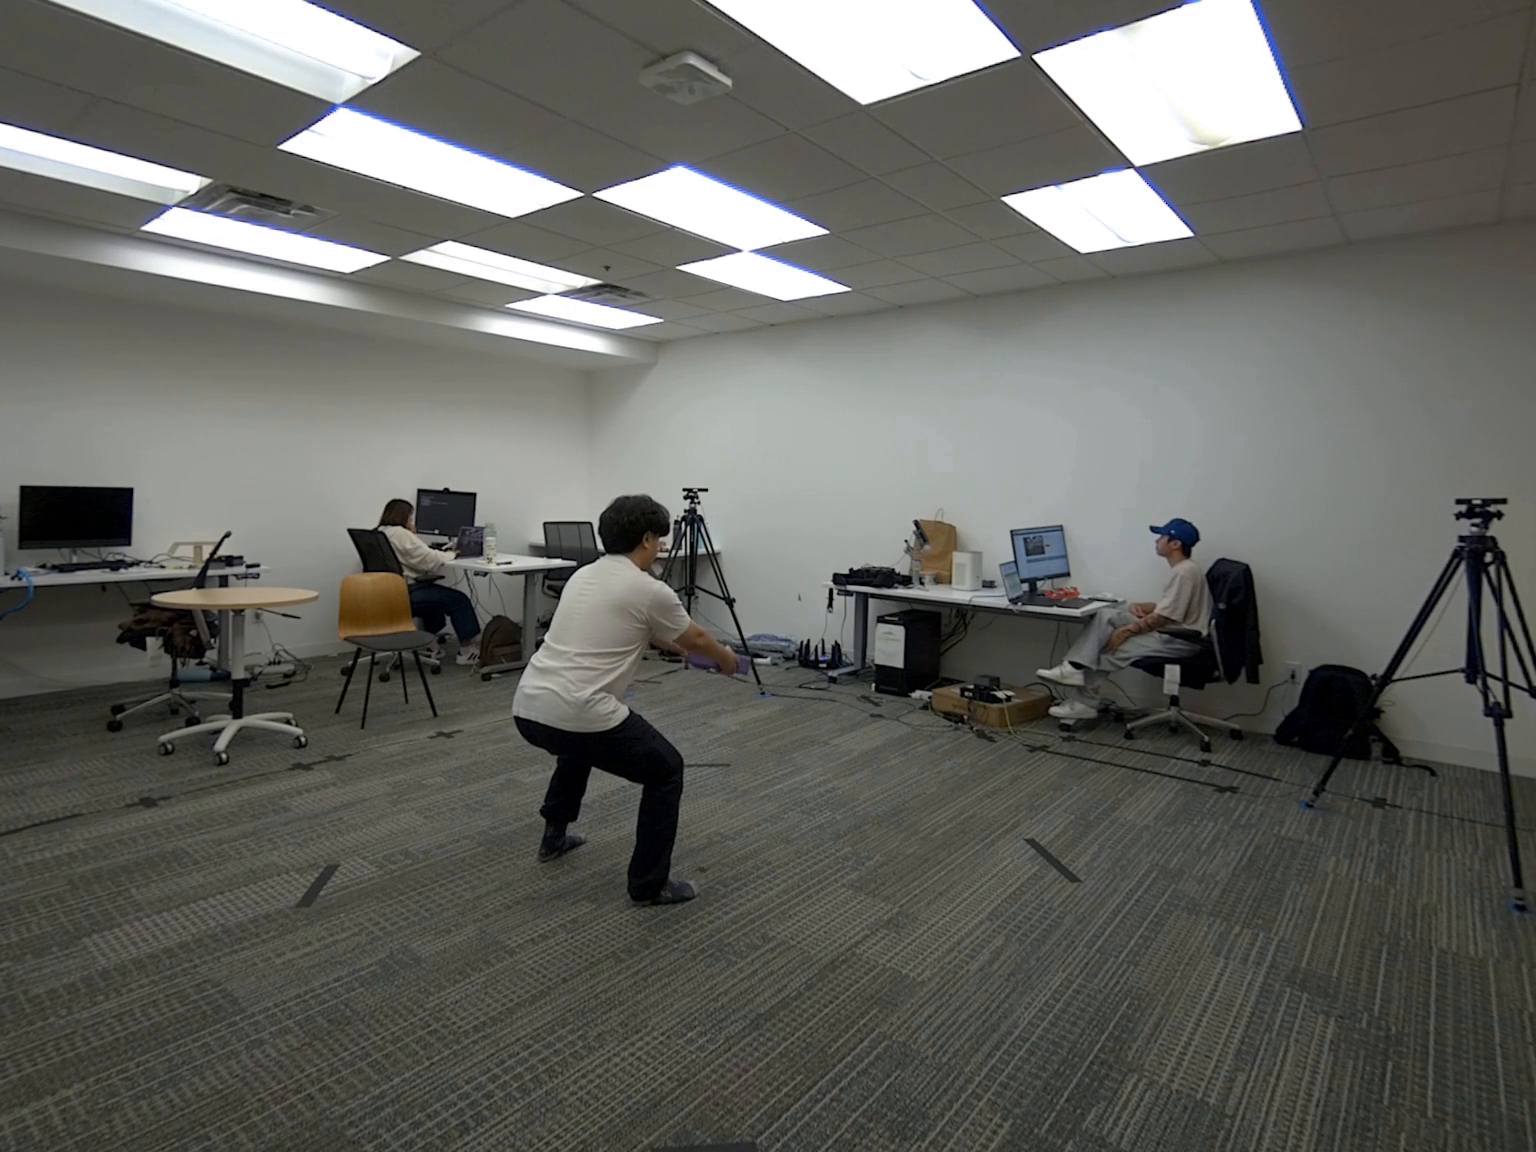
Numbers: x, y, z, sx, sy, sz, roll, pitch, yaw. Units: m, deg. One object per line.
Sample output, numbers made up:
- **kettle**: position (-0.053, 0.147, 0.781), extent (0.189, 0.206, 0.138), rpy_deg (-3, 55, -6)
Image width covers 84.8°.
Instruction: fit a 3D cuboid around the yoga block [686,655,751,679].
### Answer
- **yoga block**: position (-0.206, 0.347, 3.467), extent (0.154, 0.077, 0.220), rpy_deg (5, -7, 41)
